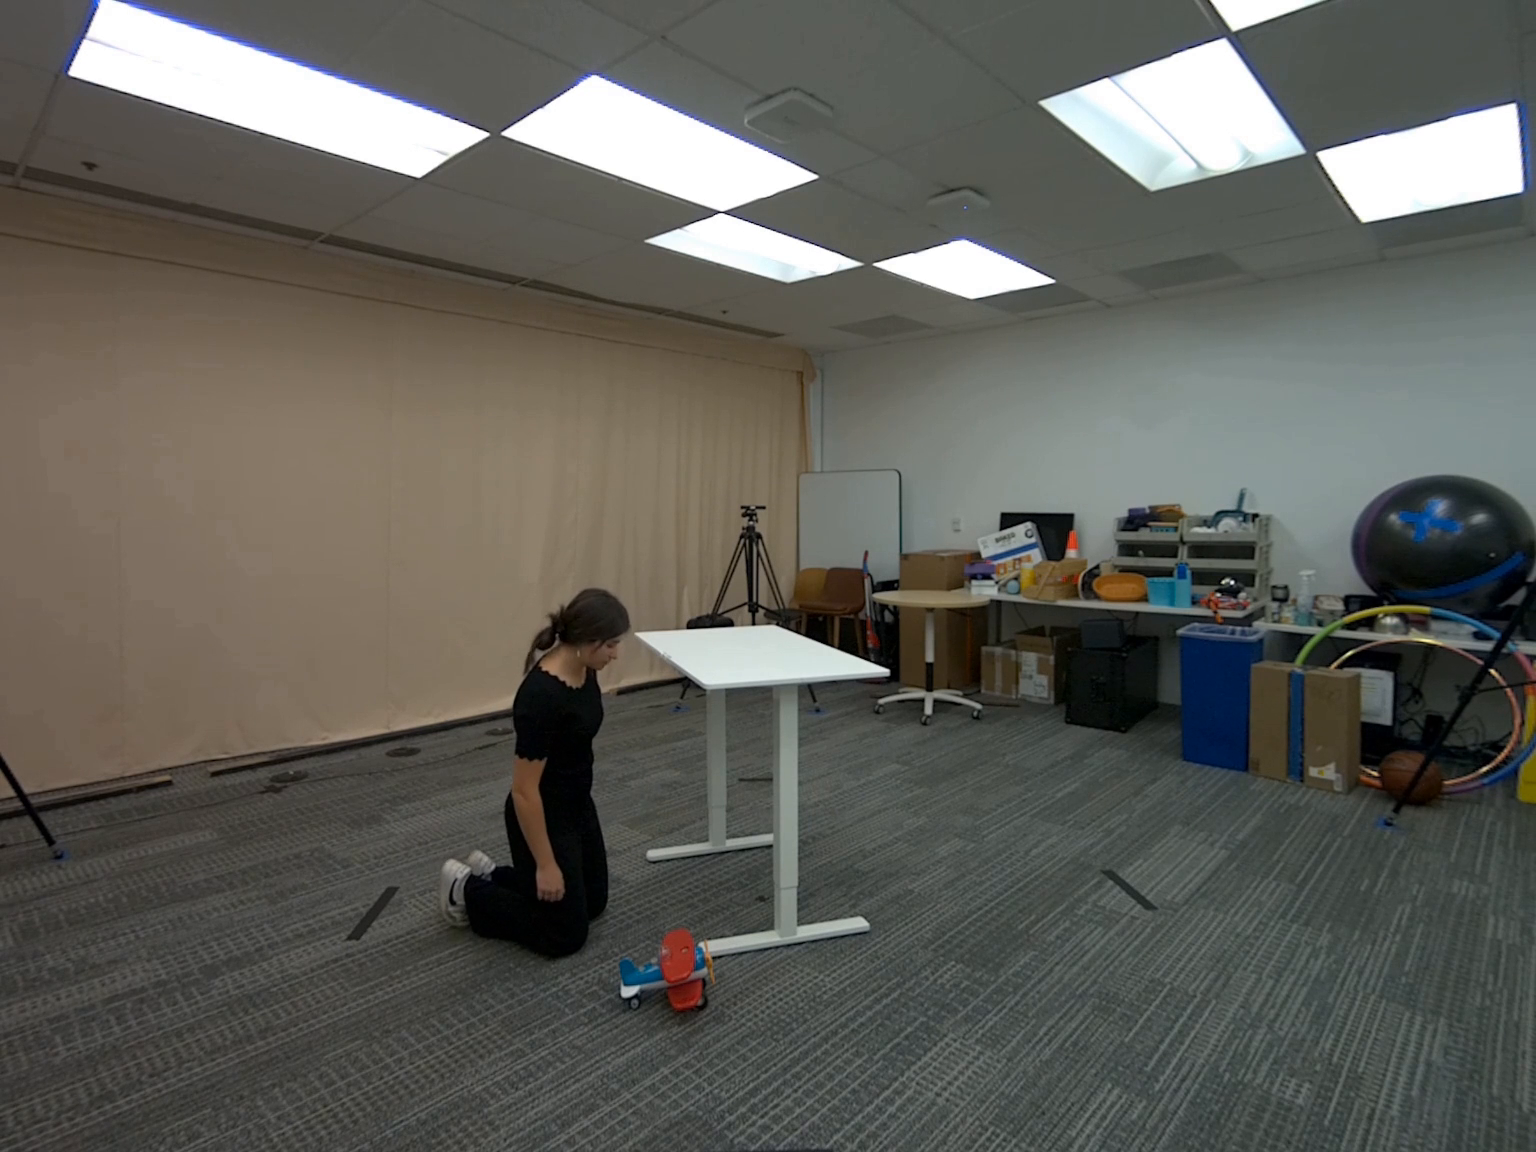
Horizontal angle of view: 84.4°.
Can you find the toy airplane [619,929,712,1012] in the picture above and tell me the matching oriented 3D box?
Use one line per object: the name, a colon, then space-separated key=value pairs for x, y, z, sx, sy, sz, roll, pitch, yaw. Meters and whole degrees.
toy airplane: x=-0.274 y=1.125 z=2.339 sx=0.252 sy=0.156 sz=0.259 roll=-2 pitch=5 yaw=-34
